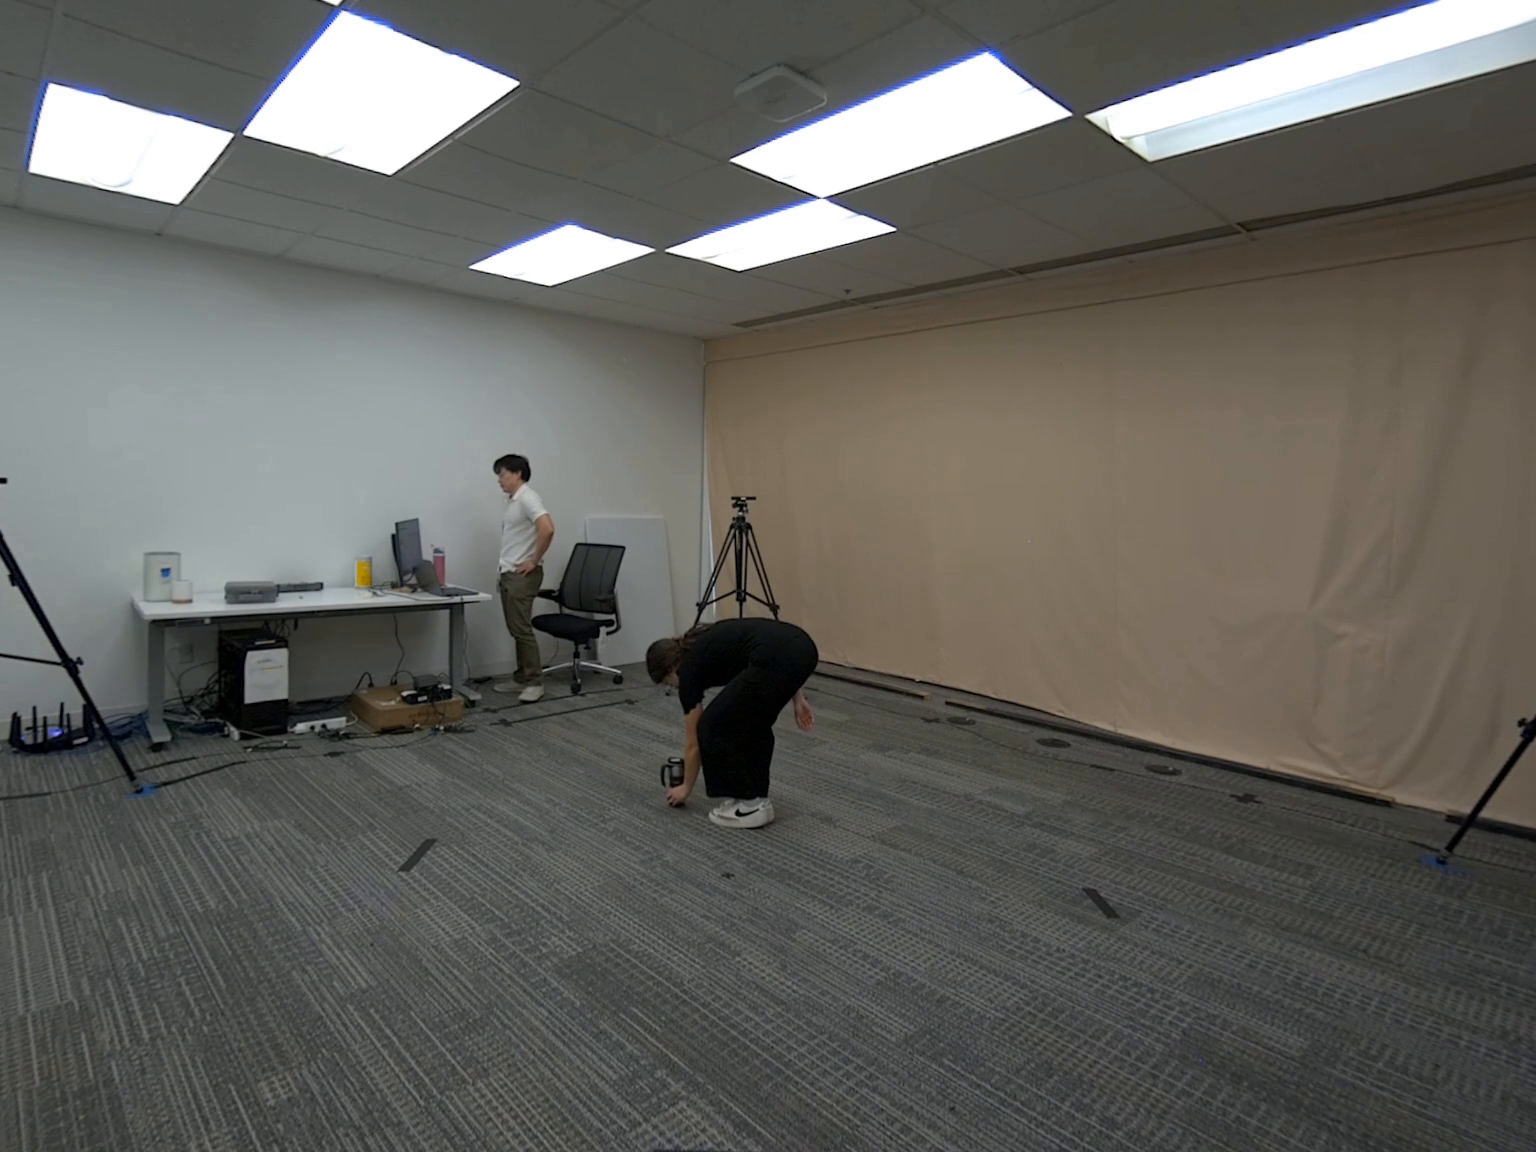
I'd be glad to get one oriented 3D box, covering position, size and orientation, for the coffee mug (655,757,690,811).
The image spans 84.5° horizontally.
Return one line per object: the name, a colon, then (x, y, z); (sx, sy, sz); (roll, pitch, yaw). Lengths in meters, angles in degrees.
coffee mug: (-0.429, 0.931, 3.802); (0.119, 0.203, 0.090); (3, -1, -40)
